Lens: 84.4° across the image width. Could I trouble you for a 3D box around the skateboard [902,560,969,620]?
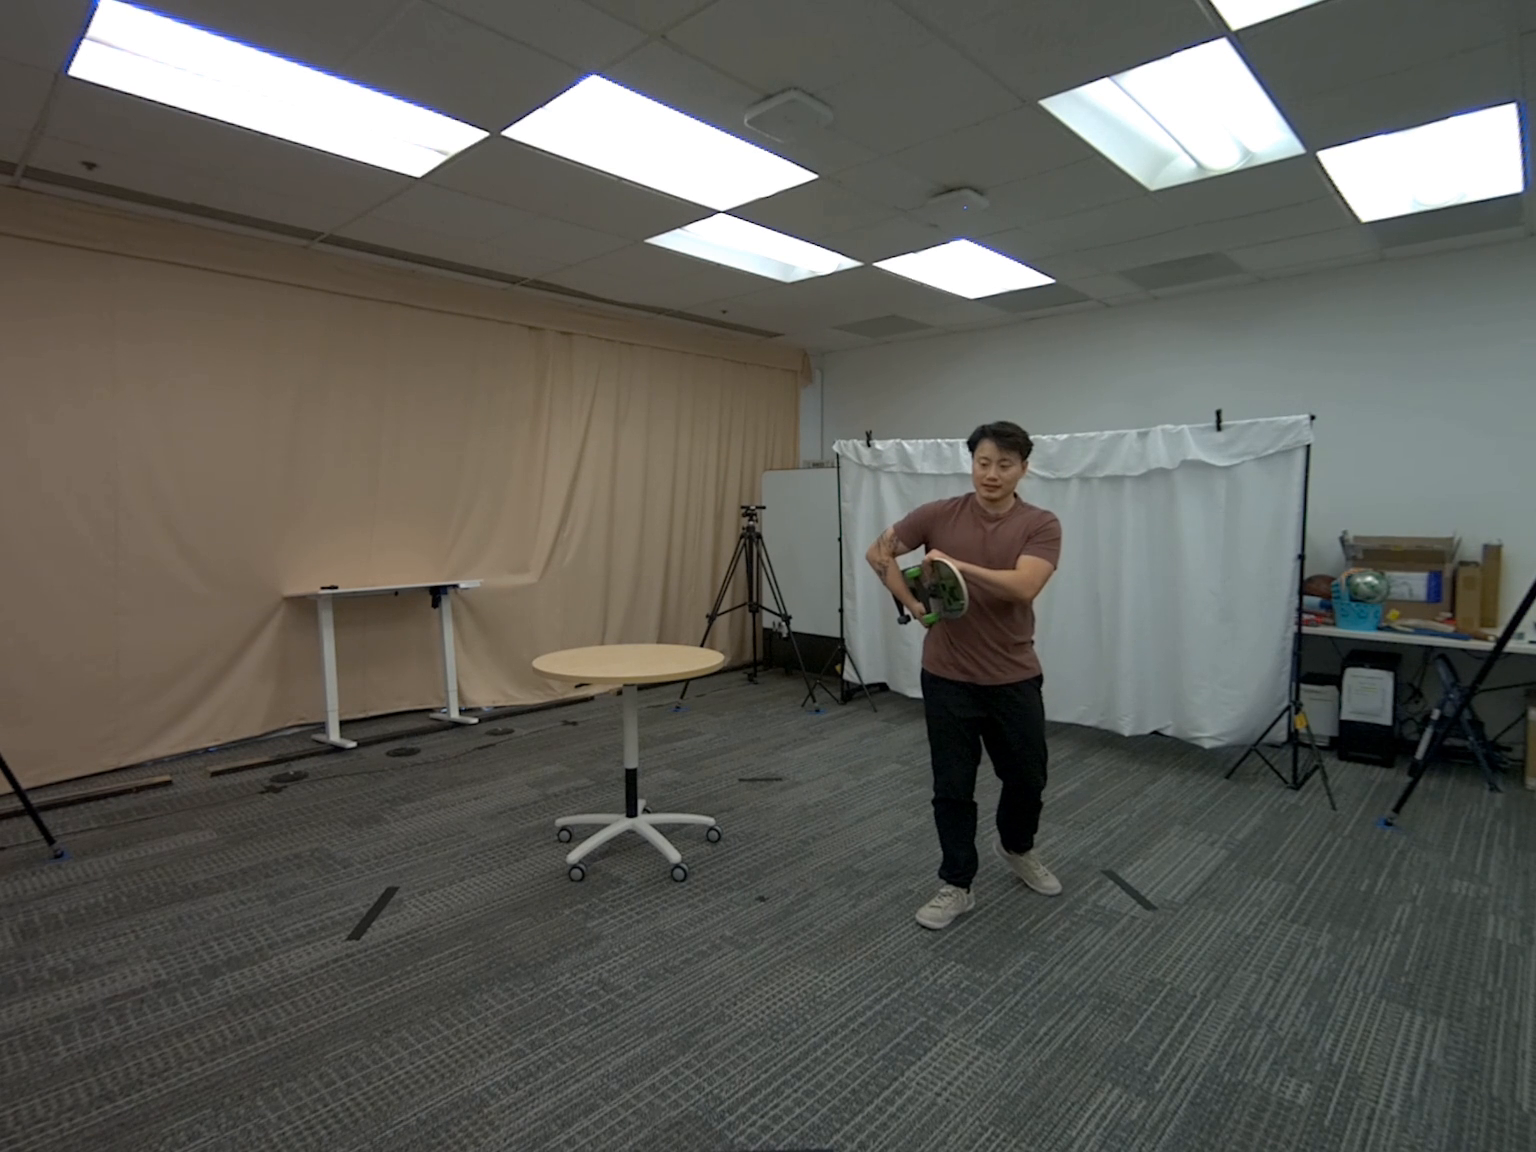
[{"bbox_3d":[0.514,0.068,2.867,0.110,0.194,0.783,-18,-3,-3],"label":"skateboard"}]
